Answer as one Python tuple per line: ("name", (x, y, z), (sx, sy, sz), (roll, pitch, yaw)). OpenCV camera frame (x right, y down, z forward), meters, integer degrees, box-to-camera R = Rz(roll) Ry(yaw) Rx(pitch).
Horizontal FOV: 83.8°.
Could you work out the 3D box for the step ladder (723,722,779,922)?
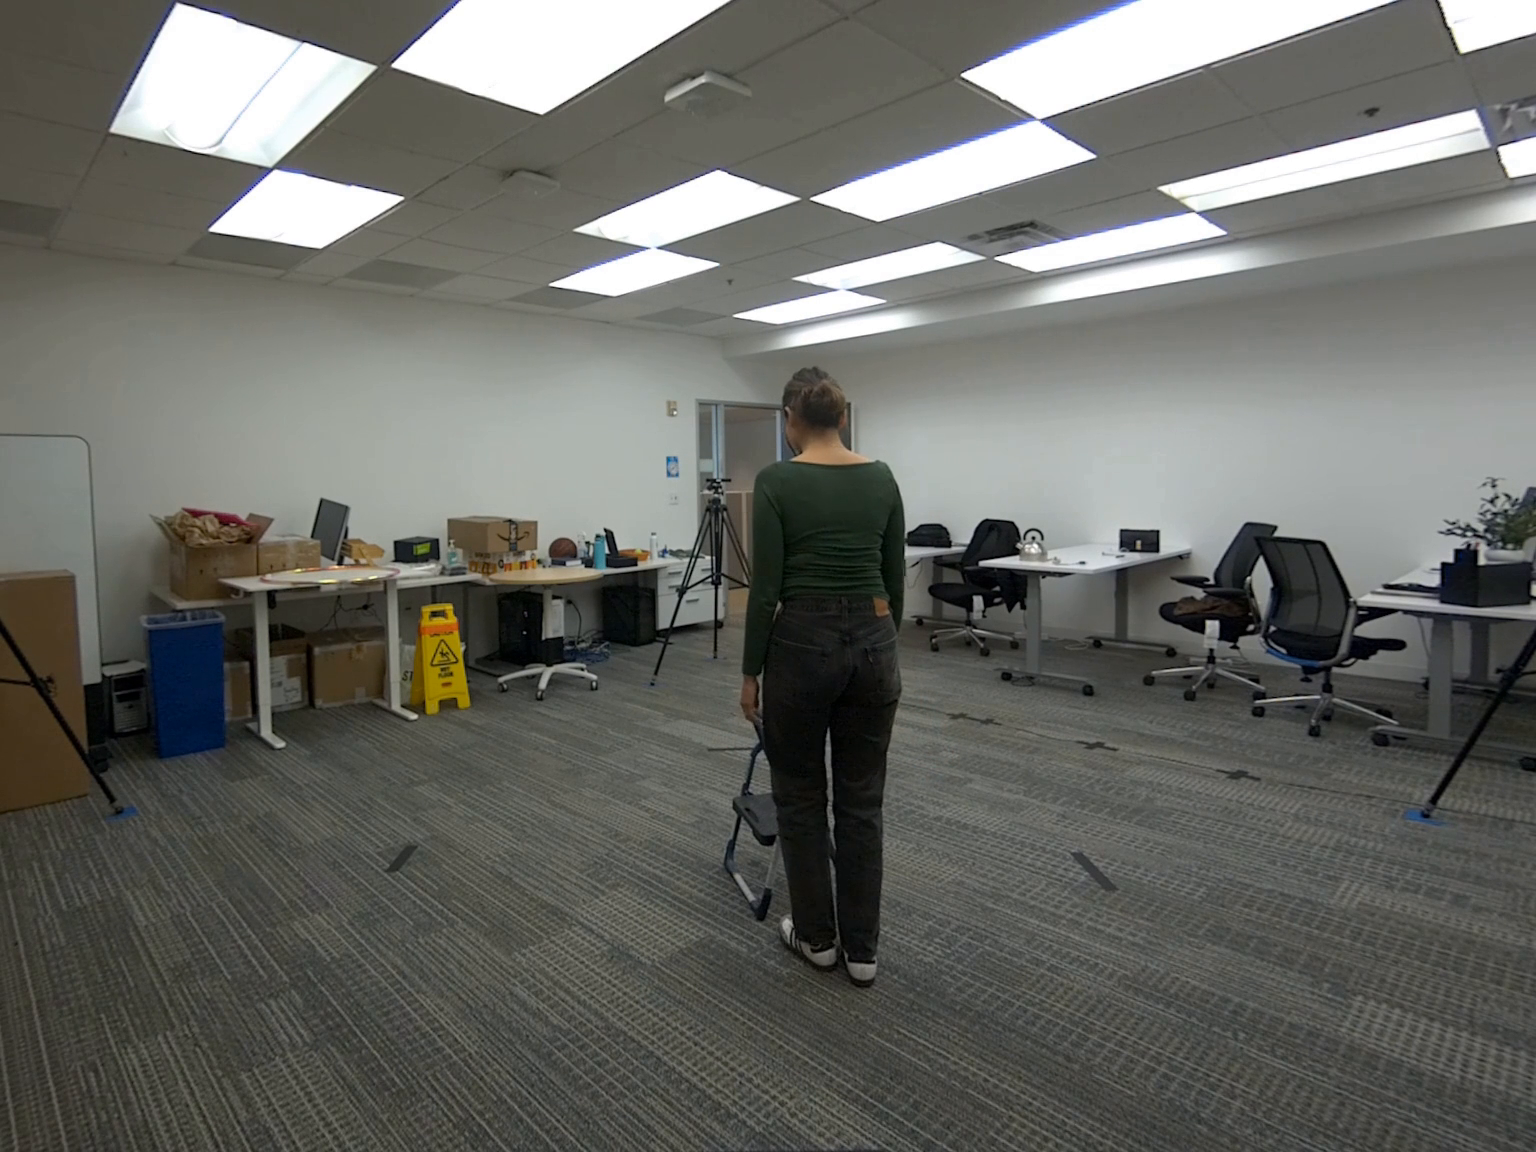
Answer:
("step ladder", (0.065, 0.760, 2.921), (0.344, 0.604, 0.439), (-2, 5, -18))
